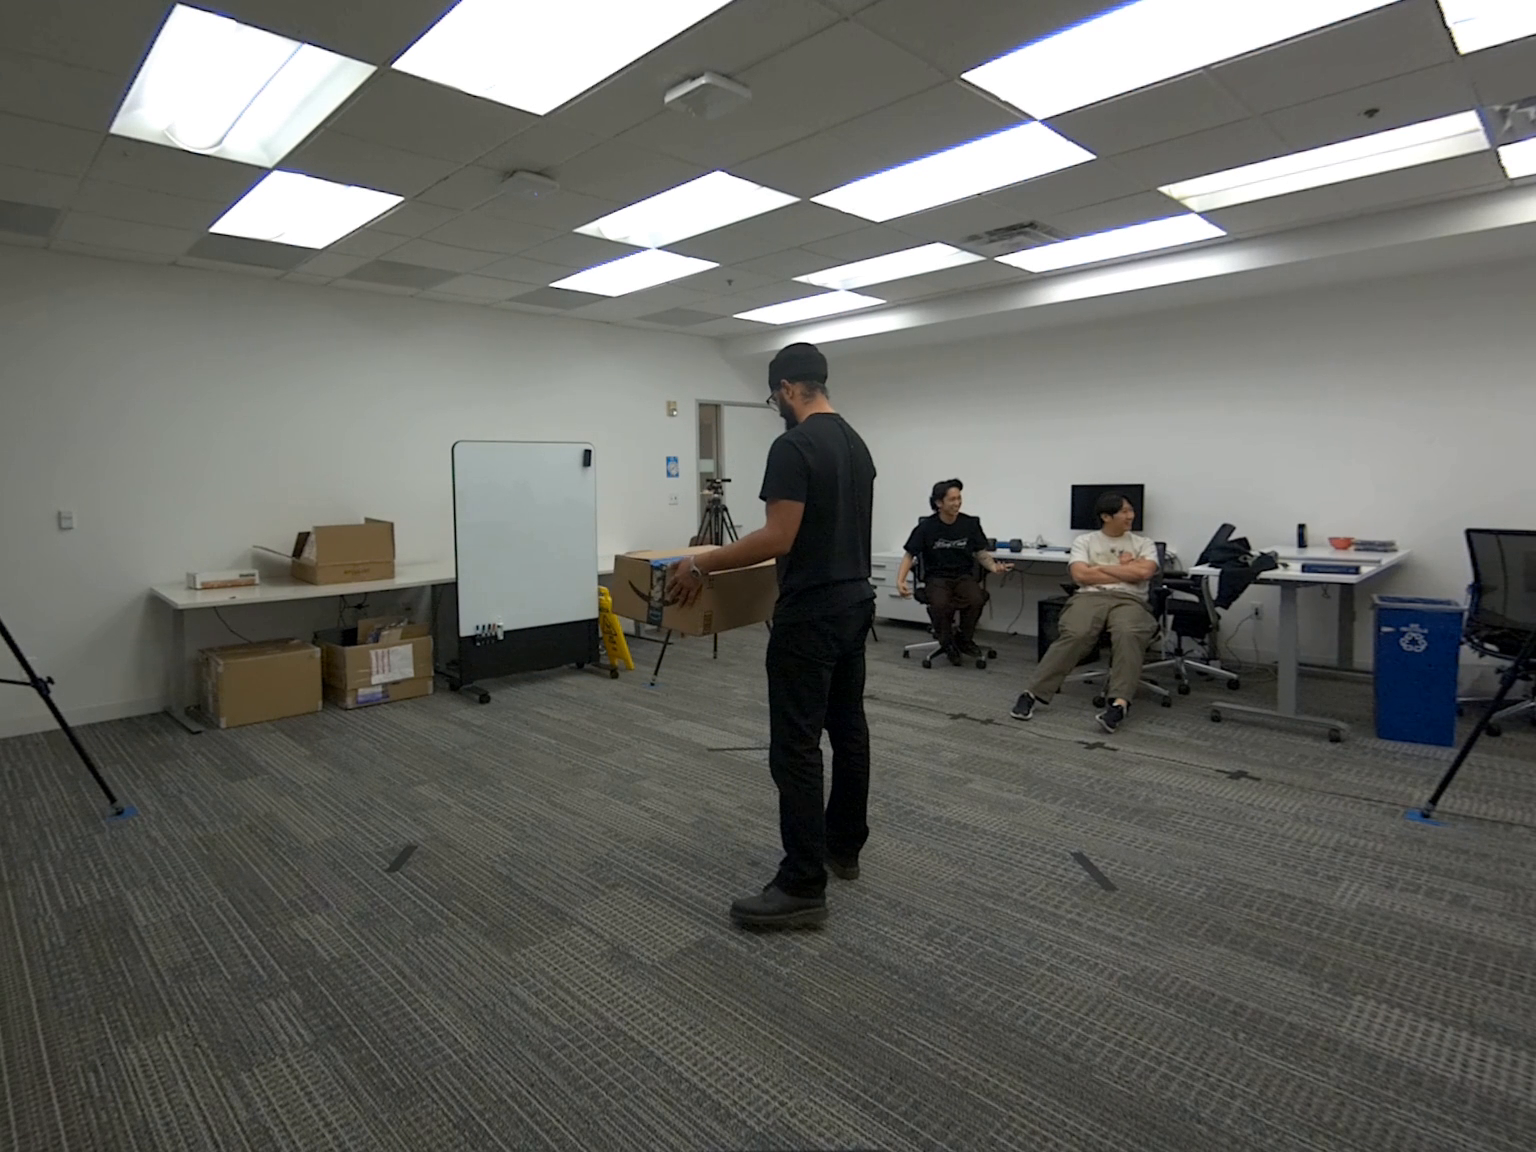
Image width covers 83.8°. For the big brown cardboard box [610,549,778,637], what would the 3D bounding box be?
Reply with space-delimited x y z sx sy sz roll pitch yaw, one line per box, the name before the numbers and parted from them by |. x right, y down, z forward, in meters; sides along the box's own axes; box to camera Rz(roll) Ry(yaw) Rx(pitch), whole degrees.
big brown cardboard box | -0.227 0.036 3.138 0.431 0.231 0.574 11 11 35
